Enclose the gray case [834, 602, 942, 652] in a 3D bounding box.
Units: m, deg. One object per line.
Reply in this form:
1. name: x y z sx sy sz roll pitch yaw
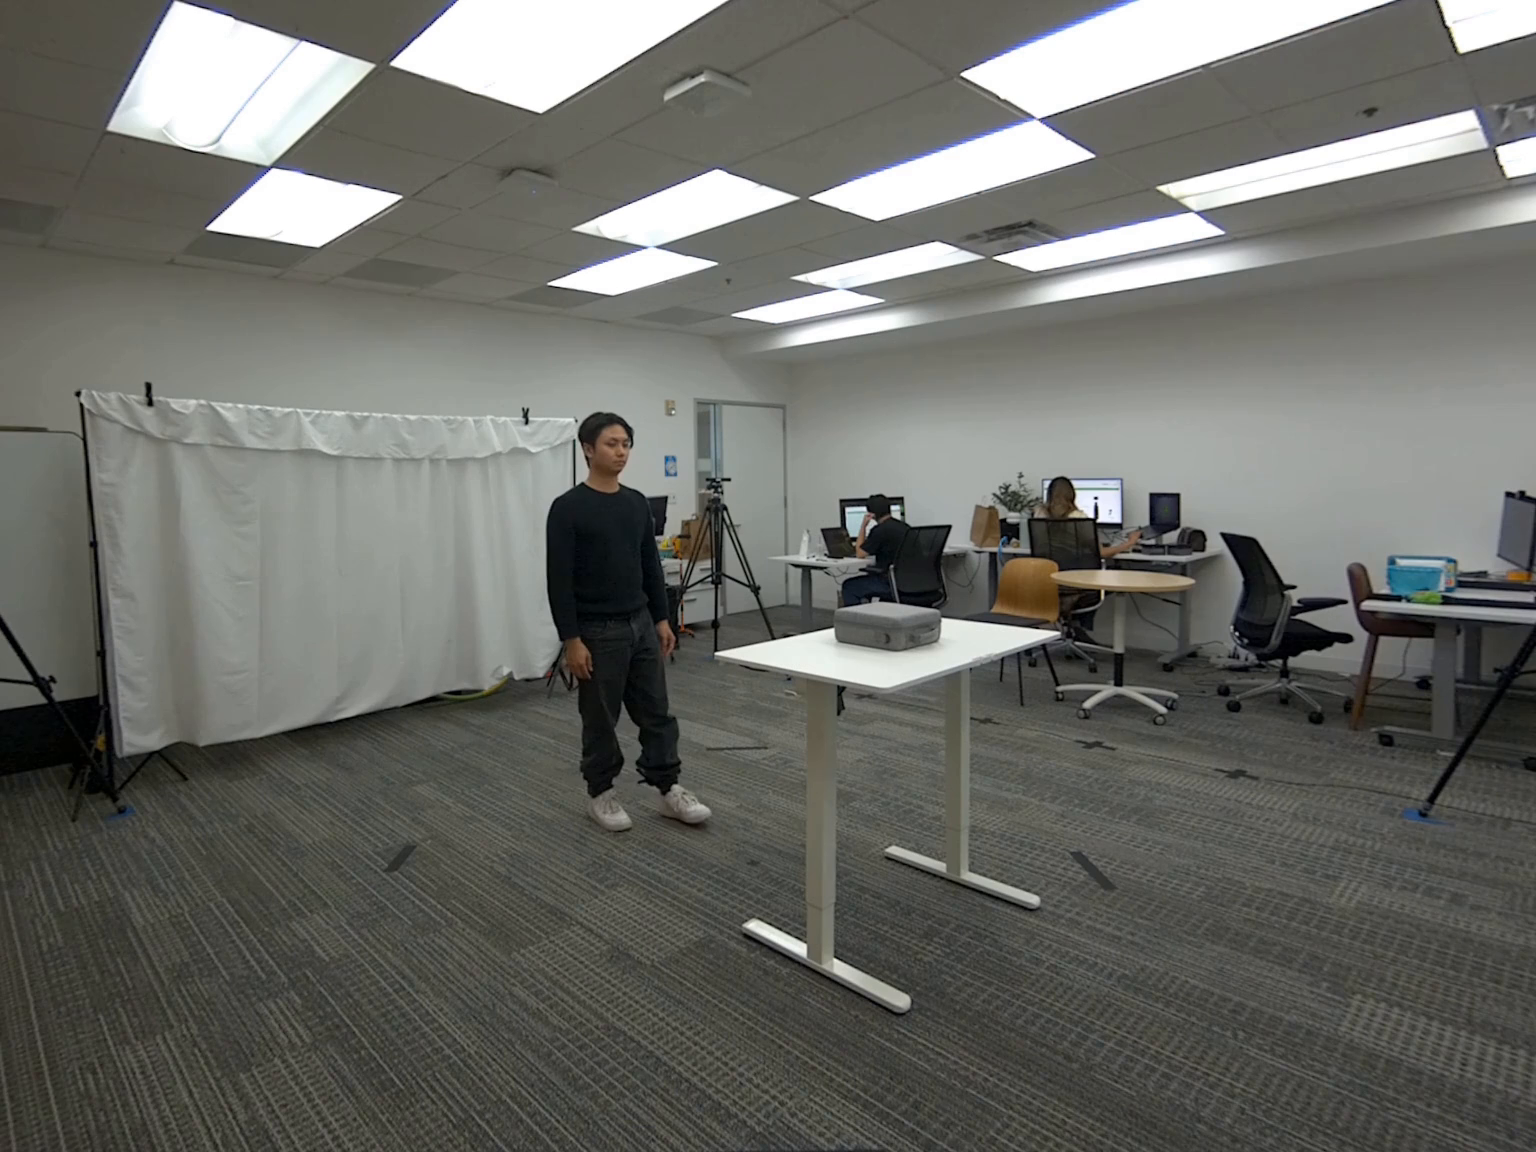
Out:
1. gray case: 0.382 0.153 2.651 0.269 0.104 0.250 7 8 44
